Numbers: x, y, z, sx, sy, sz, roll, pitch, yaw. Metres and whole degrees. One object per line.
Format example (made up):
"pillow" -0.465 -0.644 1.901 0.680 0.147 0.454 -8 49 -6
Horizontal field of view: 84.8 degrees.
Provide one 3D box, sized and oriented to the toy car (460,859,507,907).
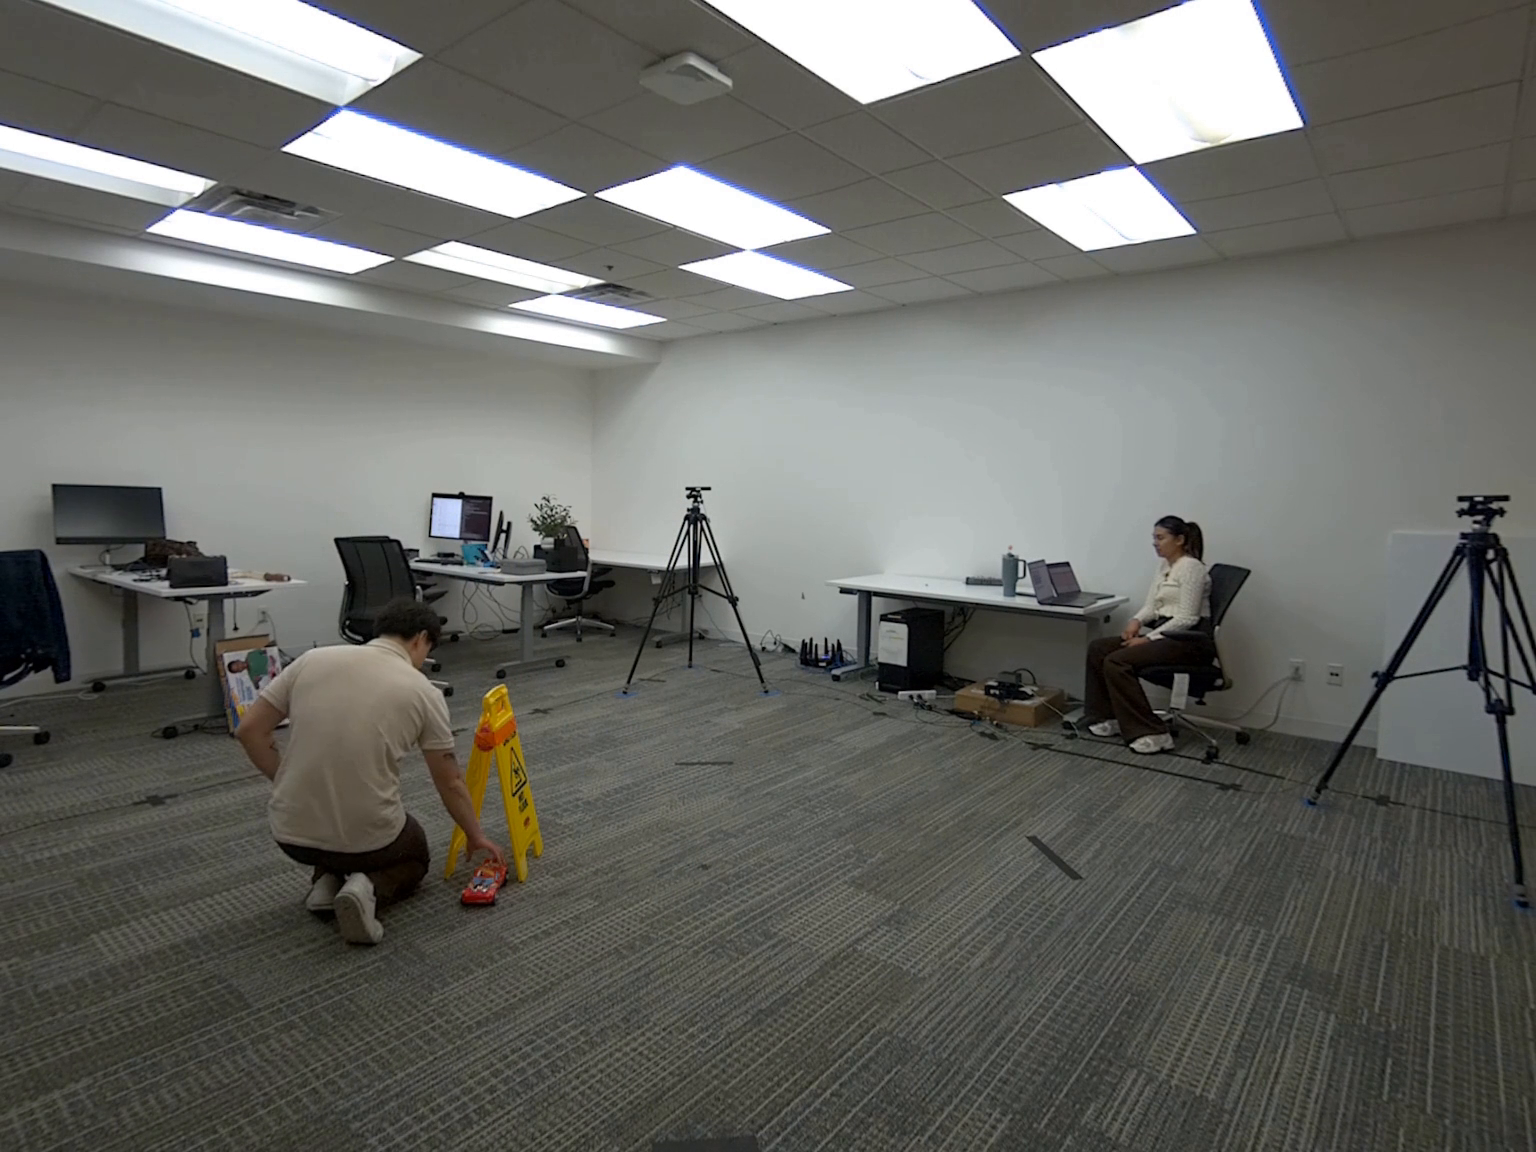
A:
"toy car" -0.981 1.050 2.906 0.130 0.082 0.259 -1 17 -3
